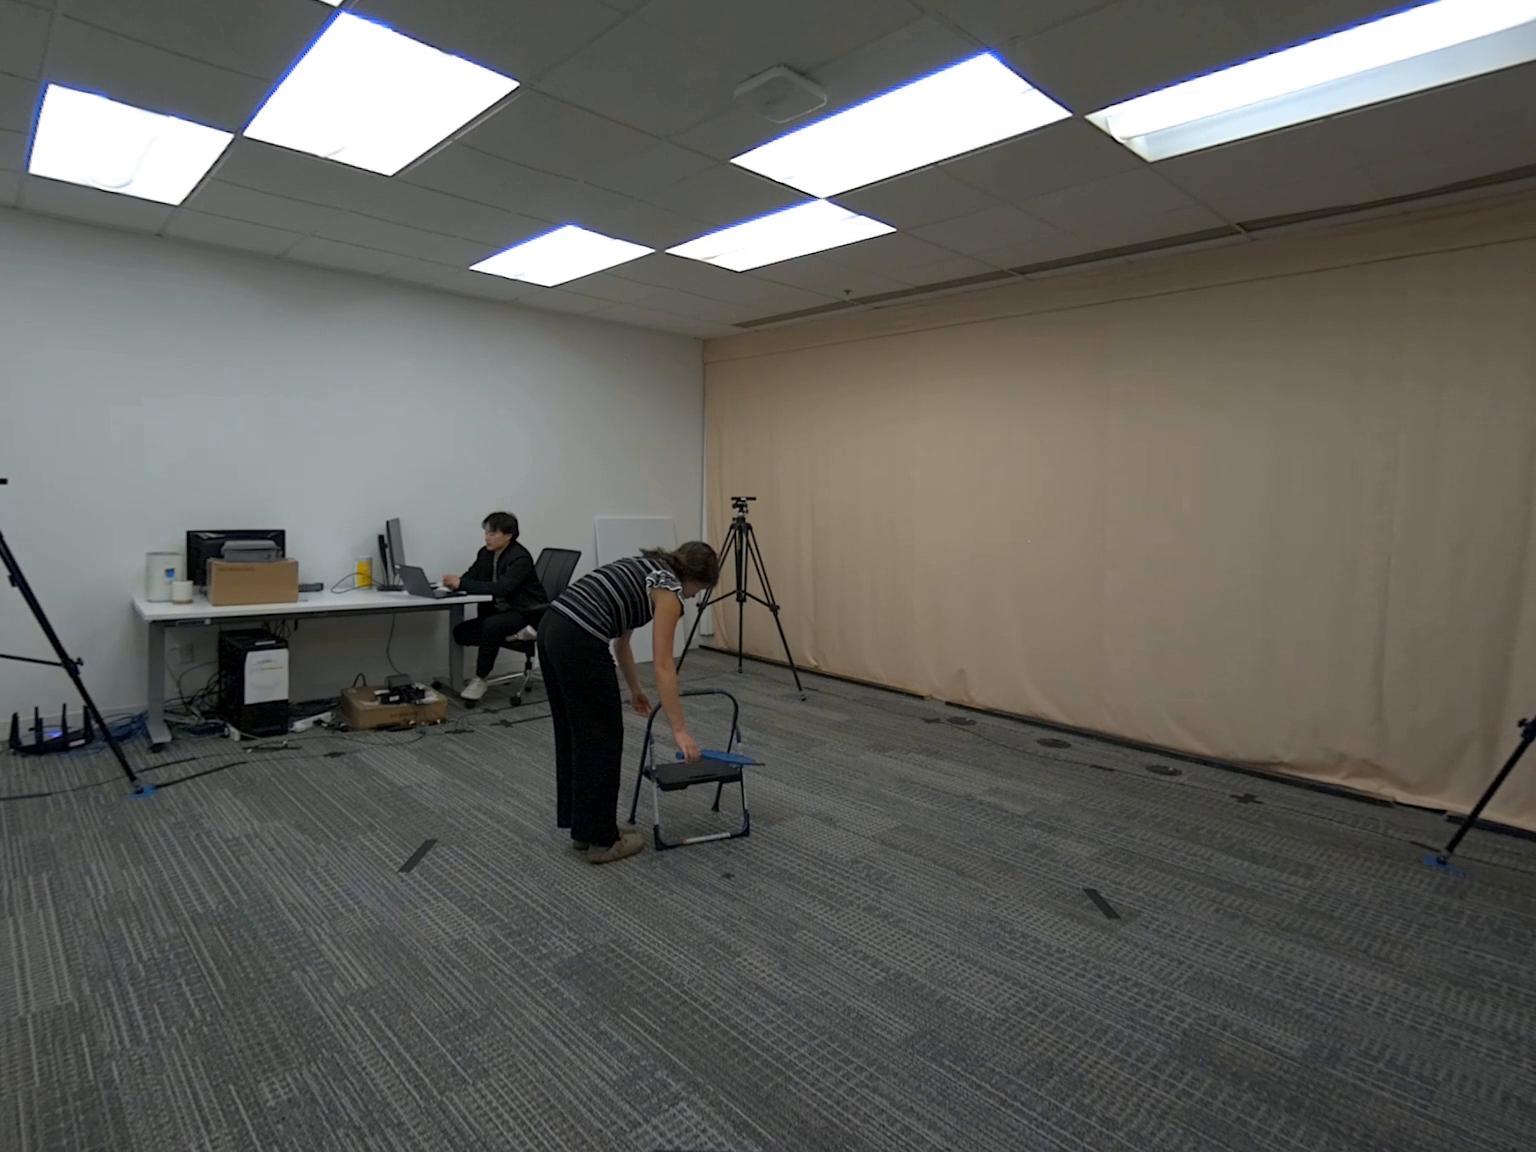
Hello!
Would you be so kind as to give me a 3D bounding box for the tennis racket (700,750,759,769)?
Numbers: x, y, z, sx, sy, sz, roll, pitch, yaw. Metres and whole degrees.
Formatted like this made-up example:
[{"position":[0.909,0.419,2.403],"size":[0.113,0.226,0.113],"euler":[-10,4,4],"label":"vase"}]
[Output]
[{"position":[-0.226,0.693,3.258],"size":[0.219,0.032,0.420],"euler":[8,-6,39],"label":"tennis racket"}]
